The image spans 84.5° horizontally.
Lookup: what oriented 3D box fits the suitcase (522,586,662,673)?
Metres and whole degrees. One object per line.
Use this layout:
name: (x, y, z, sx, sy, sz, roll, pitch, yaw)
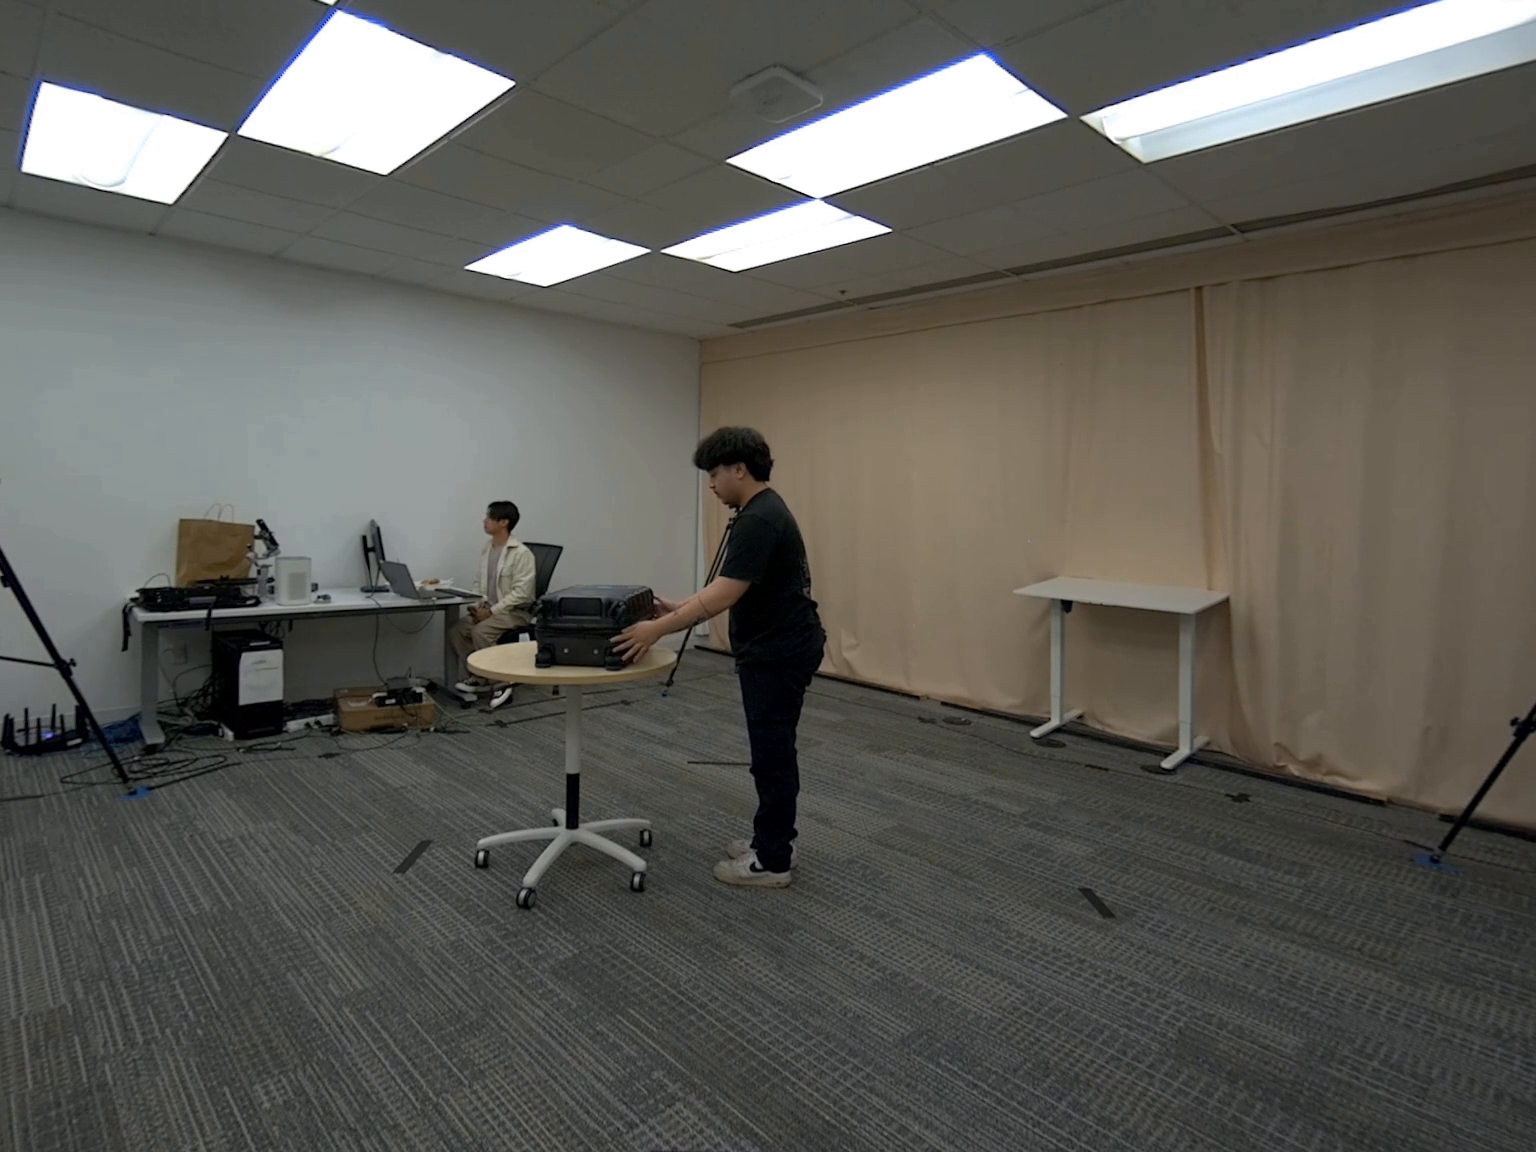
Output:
suitcase: (-0.632, 0.181, 3.138, 0.377, 0.248, 0.548, 0, 3, 5)
